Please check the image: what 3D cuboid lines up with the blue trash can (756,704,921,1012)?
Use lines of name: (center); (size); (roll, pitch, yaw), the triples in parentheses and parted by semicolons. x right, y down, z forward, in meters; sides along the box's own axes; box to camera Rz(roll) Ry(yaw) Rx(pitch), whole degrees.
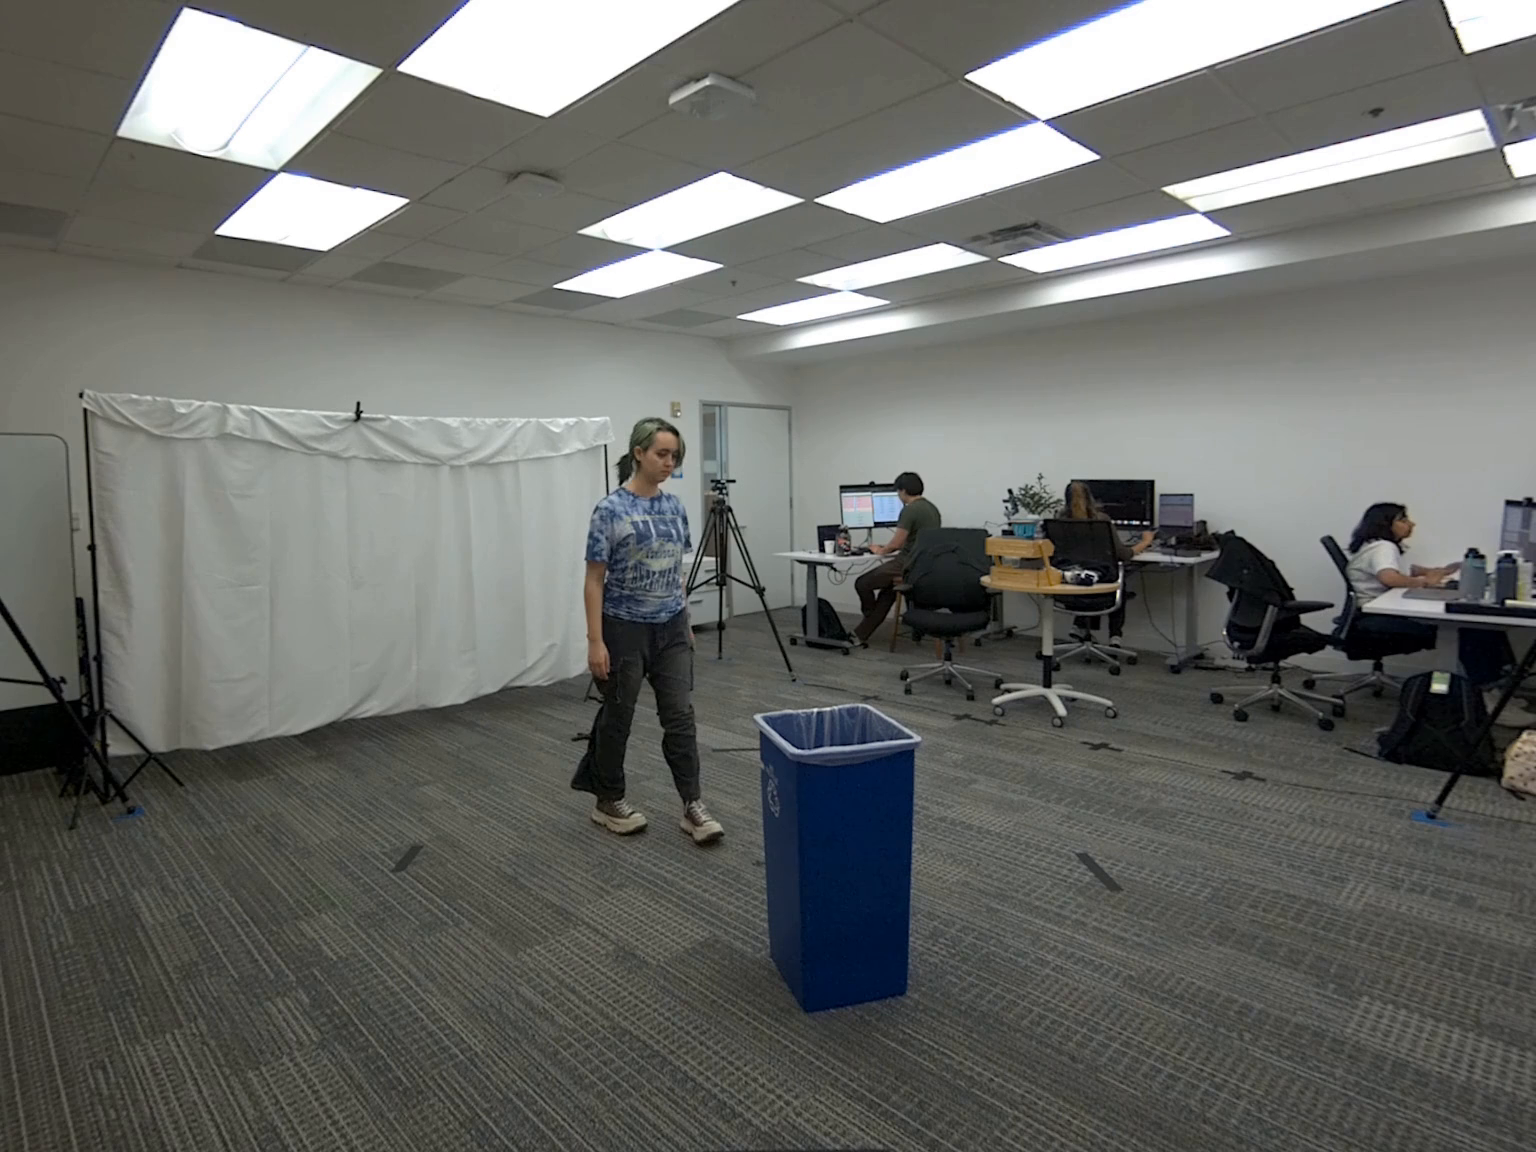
blue trash can: (0.196, 0.771, 2.381); (0.373, 0.711, 0.381); (-3, 5, -16)
